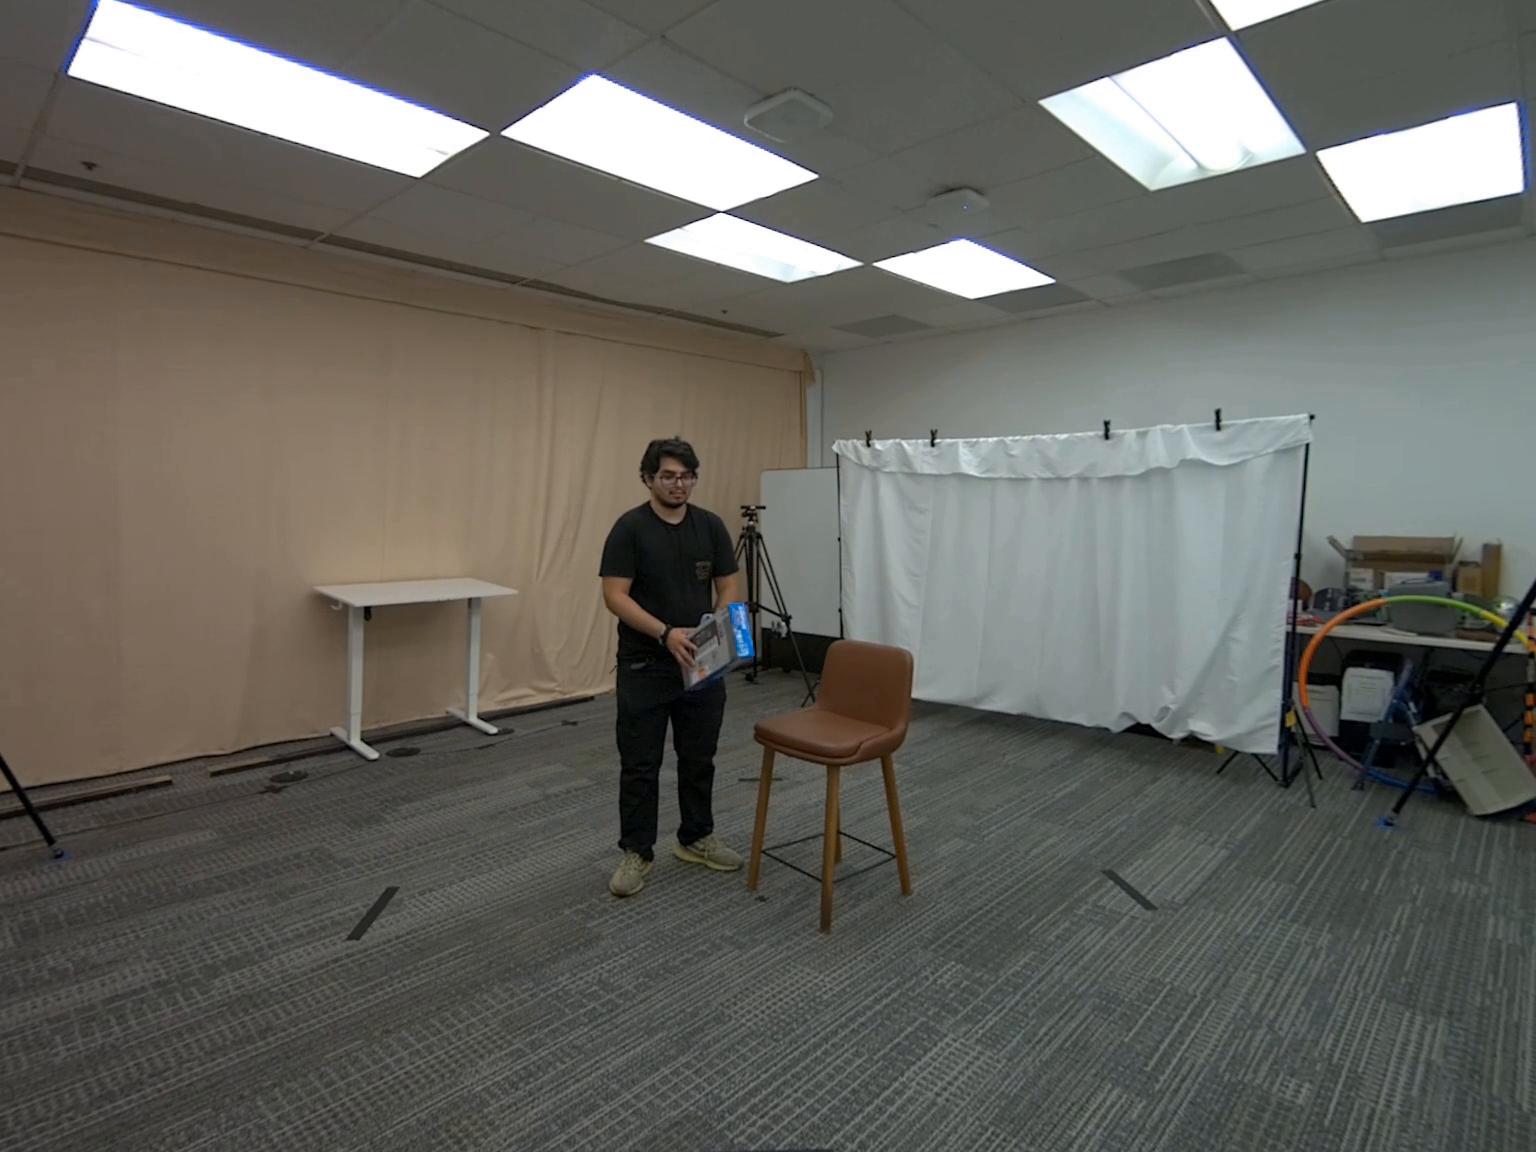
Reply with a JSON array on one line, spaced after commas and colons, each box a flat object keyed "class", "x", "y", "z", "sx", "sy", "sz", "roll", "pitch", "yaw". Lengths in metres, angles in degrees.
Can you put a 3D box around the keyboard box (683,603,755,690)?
[{"class": "keyboard box", "x": -0.176, "y": 0.242, "z": 2.751, "sx": 0.057, "sy": 0.178, "sz": 0.442, "roll": 0, "pitch": -20, "yaw": -28}]
